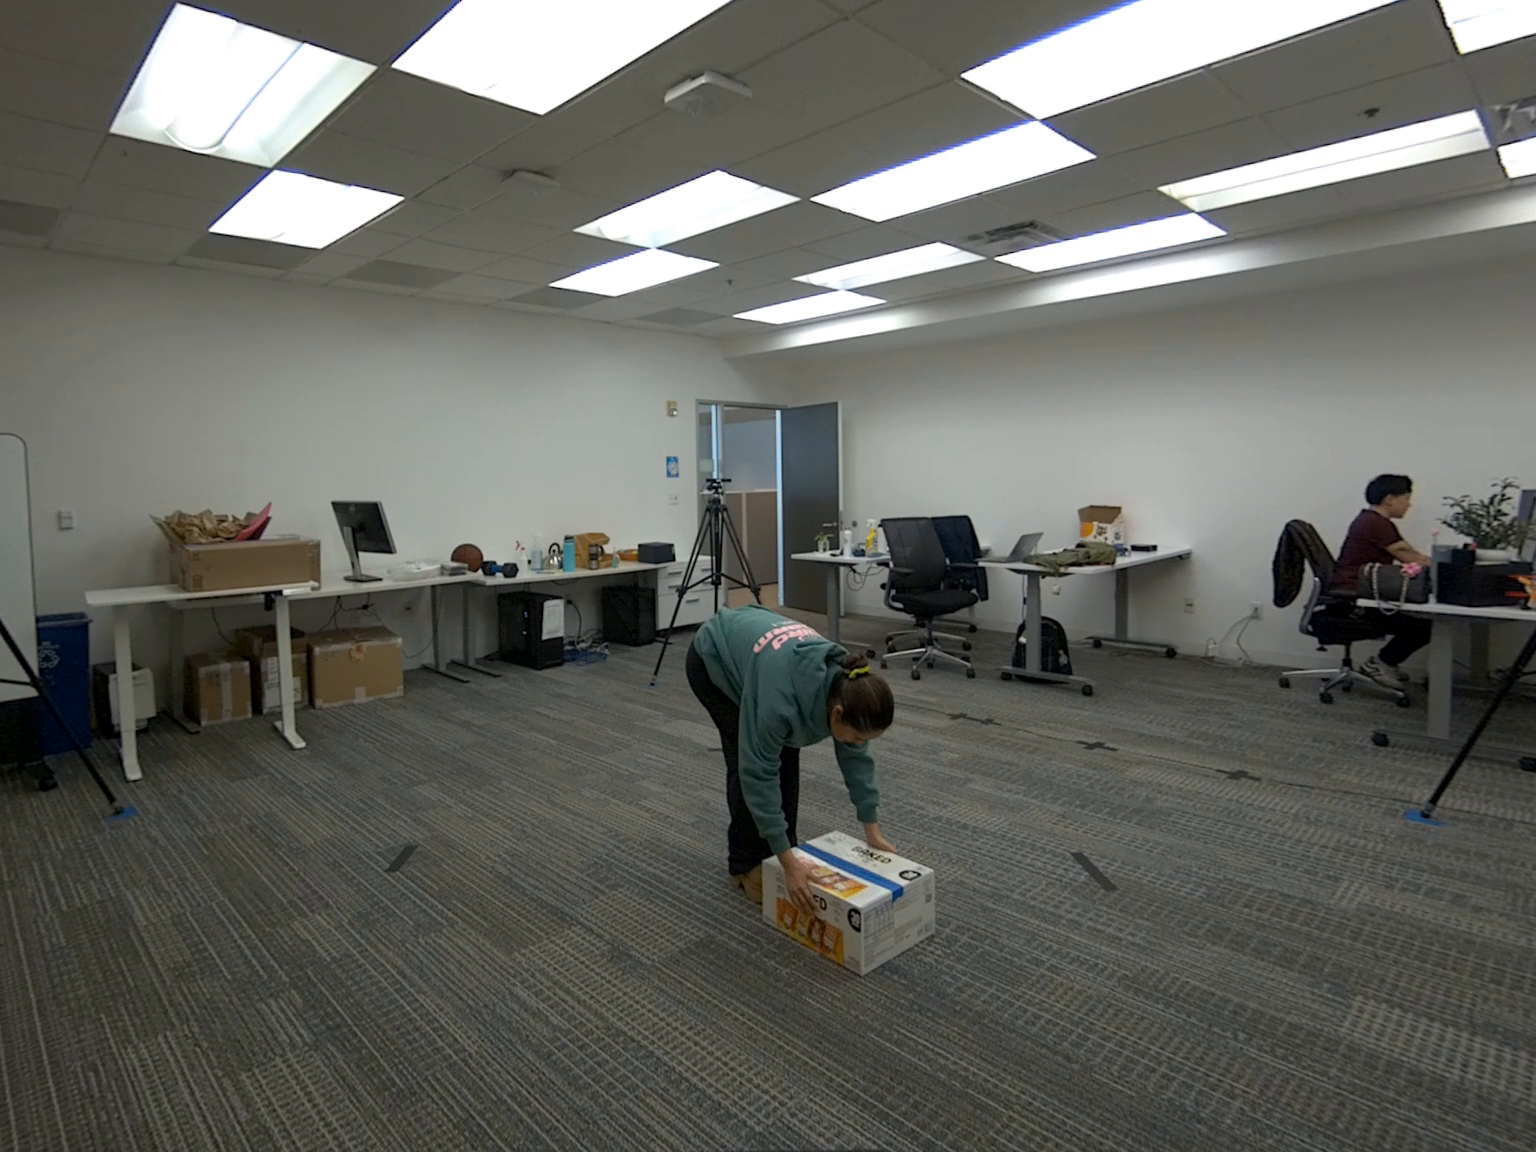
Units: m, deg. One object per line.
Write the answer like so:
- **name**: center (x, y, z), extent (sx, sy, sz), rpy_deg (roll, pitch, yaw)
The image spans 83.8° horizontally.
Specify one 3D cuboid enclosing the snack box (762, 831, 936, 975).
- **snack box**: center (0.251, 0.991, 2.634), extent (0.331, 0.205, 0.417), rpy_deg (-7, 8, -41)
